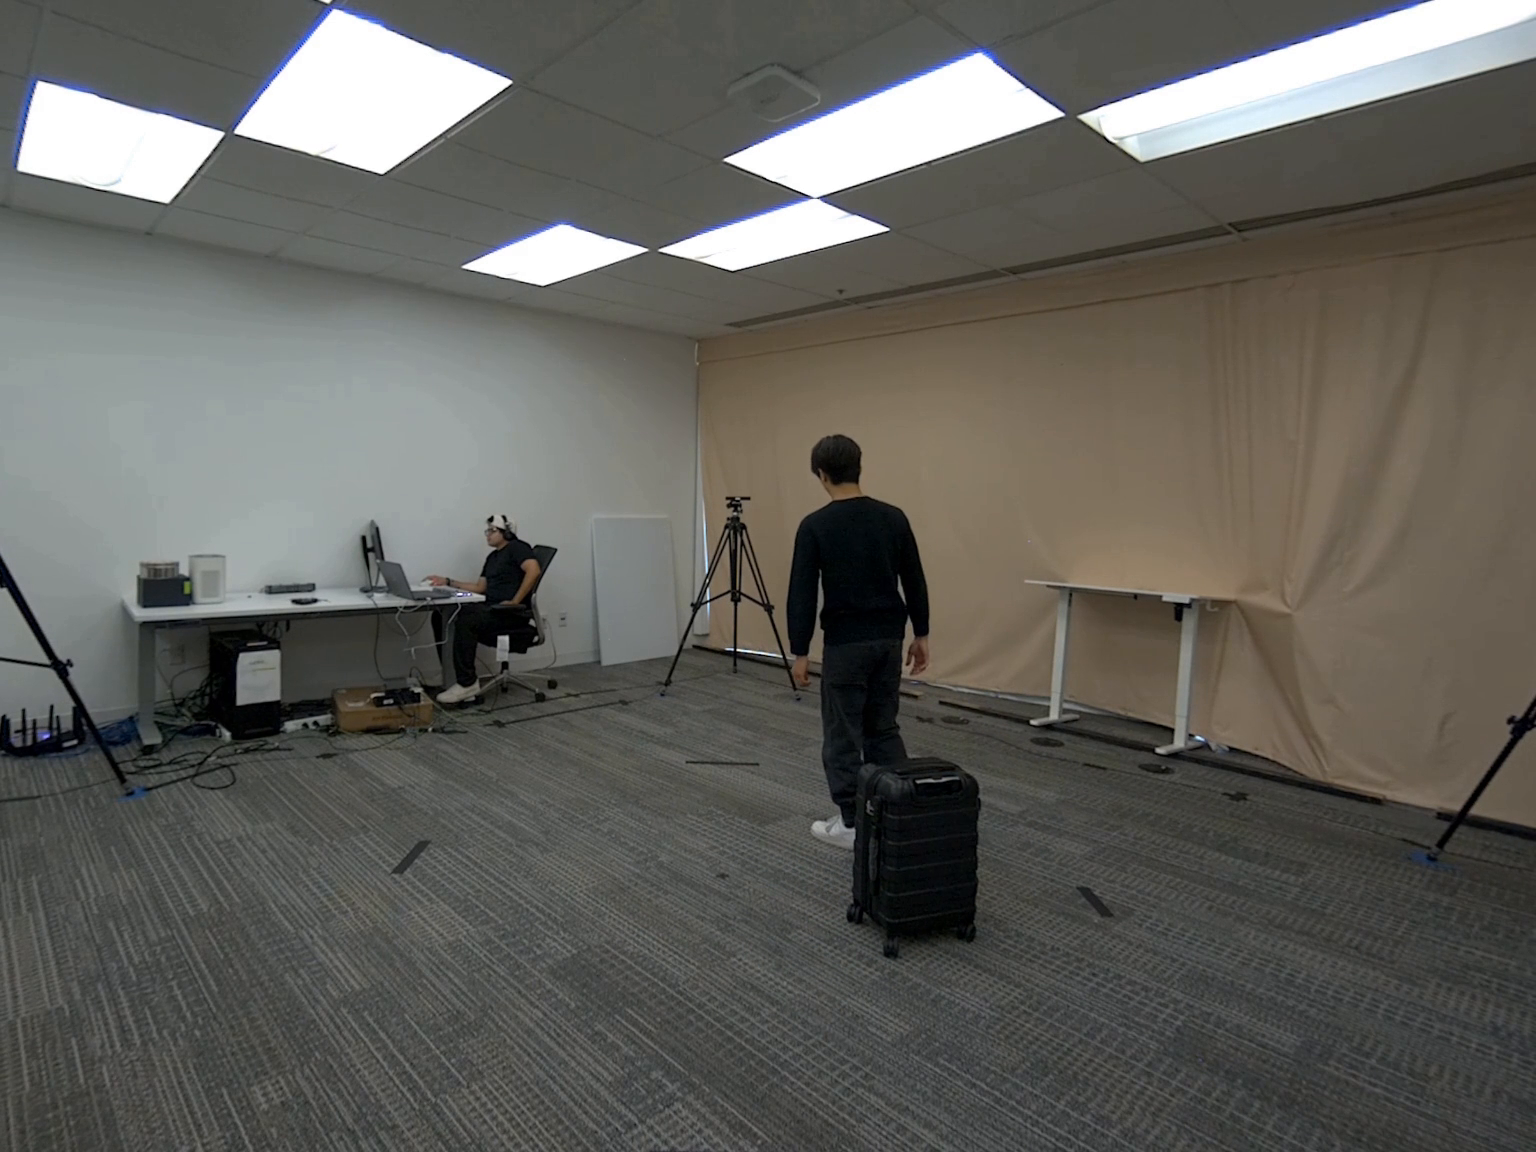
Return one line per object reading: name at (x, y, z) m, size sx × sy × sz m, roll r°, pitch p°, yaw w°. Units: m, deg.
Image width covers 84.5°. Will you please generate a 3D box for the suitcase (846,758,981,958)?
suitcase at (0.472, 0.879, 2.742) m, size 0.369 × 0.548 × 0.253 m, roll 1°, pitch 2°, yaw -22°
